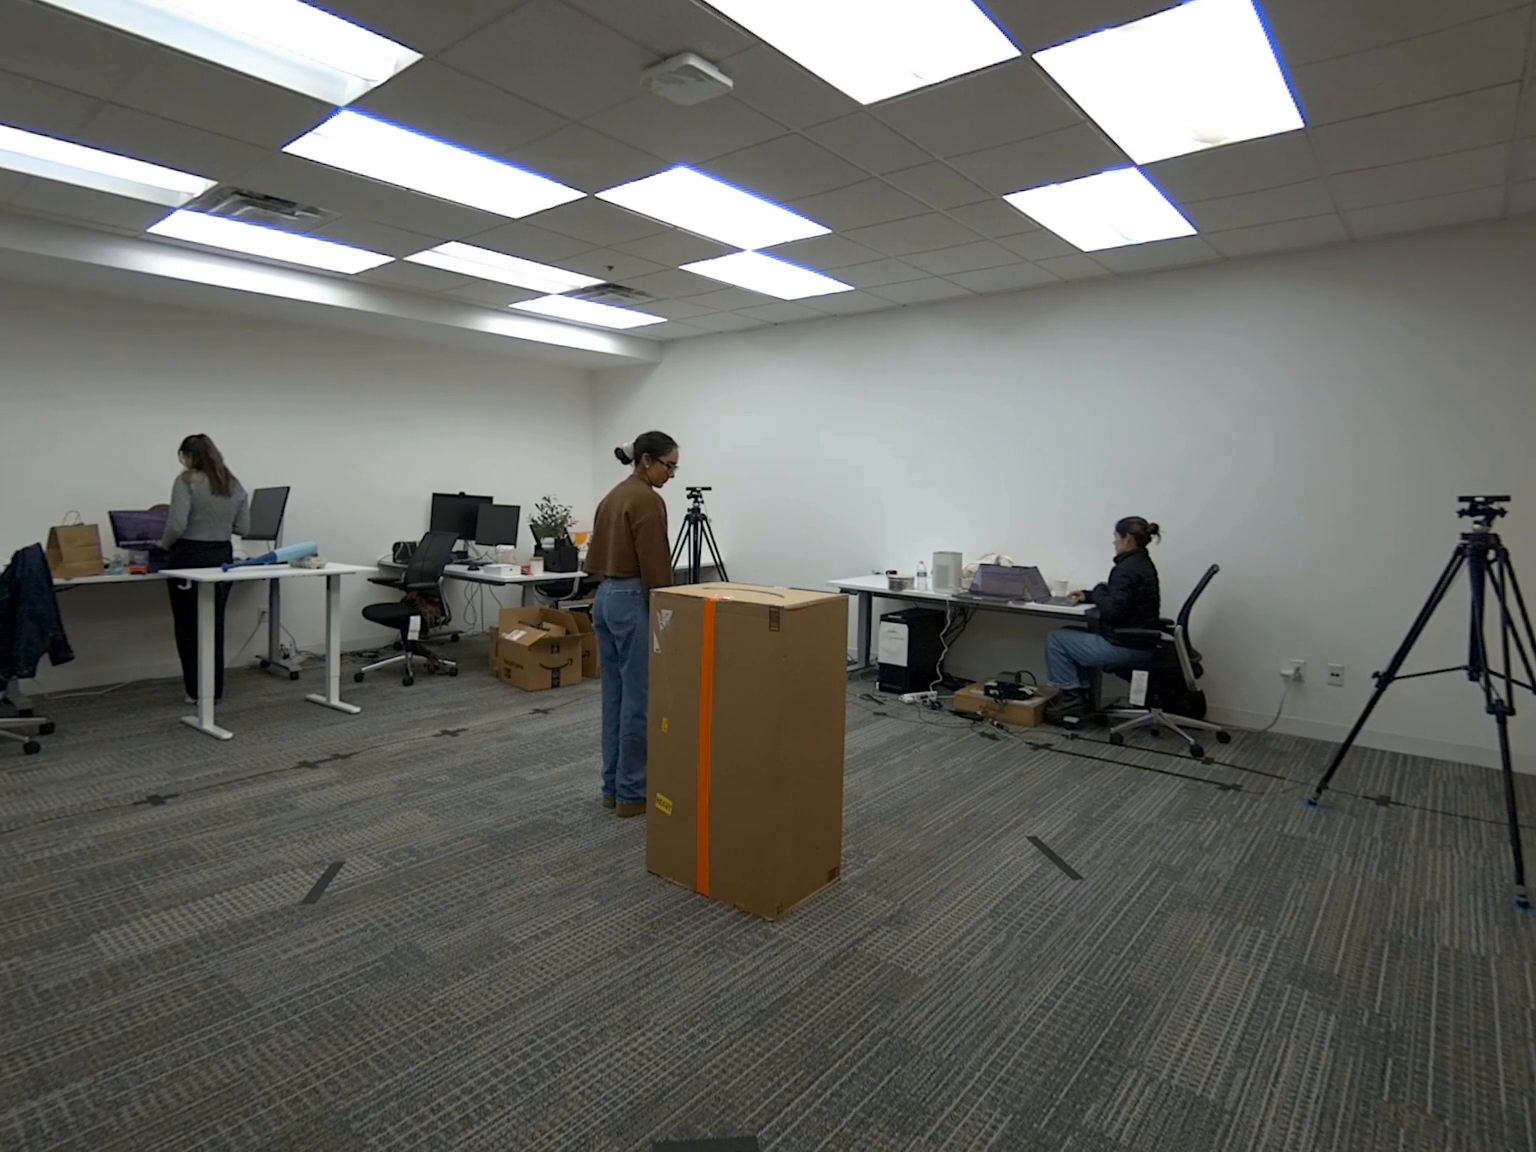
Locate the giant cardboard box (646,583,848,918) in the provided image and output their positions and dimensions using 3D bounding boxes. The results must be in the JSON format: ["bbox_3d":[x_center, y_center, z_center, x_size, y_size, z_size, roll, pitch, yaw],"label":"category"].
[{"bbox_3d":[-0.089,0.569,3.032,0.603,1.024,0.434,4,4,36],"label":"giant cardboard box"}]
